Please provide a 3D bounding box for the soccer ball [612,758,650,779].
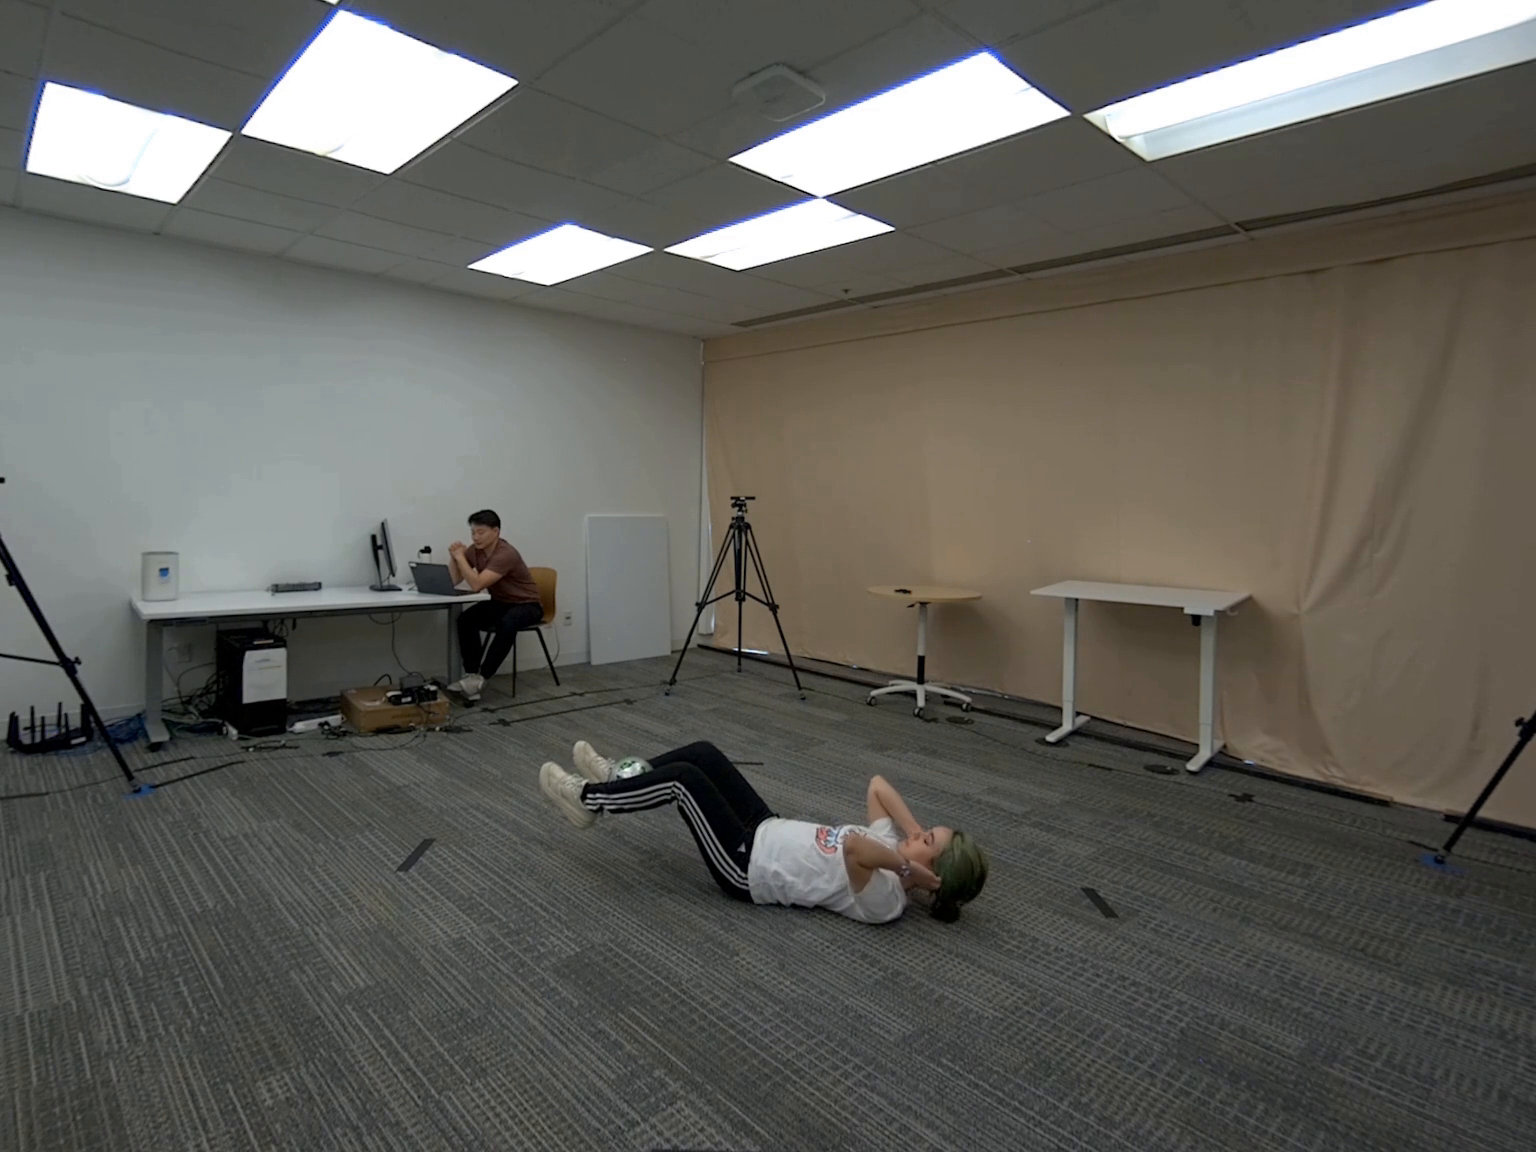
[{"bbox_3d":[-0.505,0.773,3.141,0.187,0.187,0.188,1,4,-1],"label":"soccer ball"}]
